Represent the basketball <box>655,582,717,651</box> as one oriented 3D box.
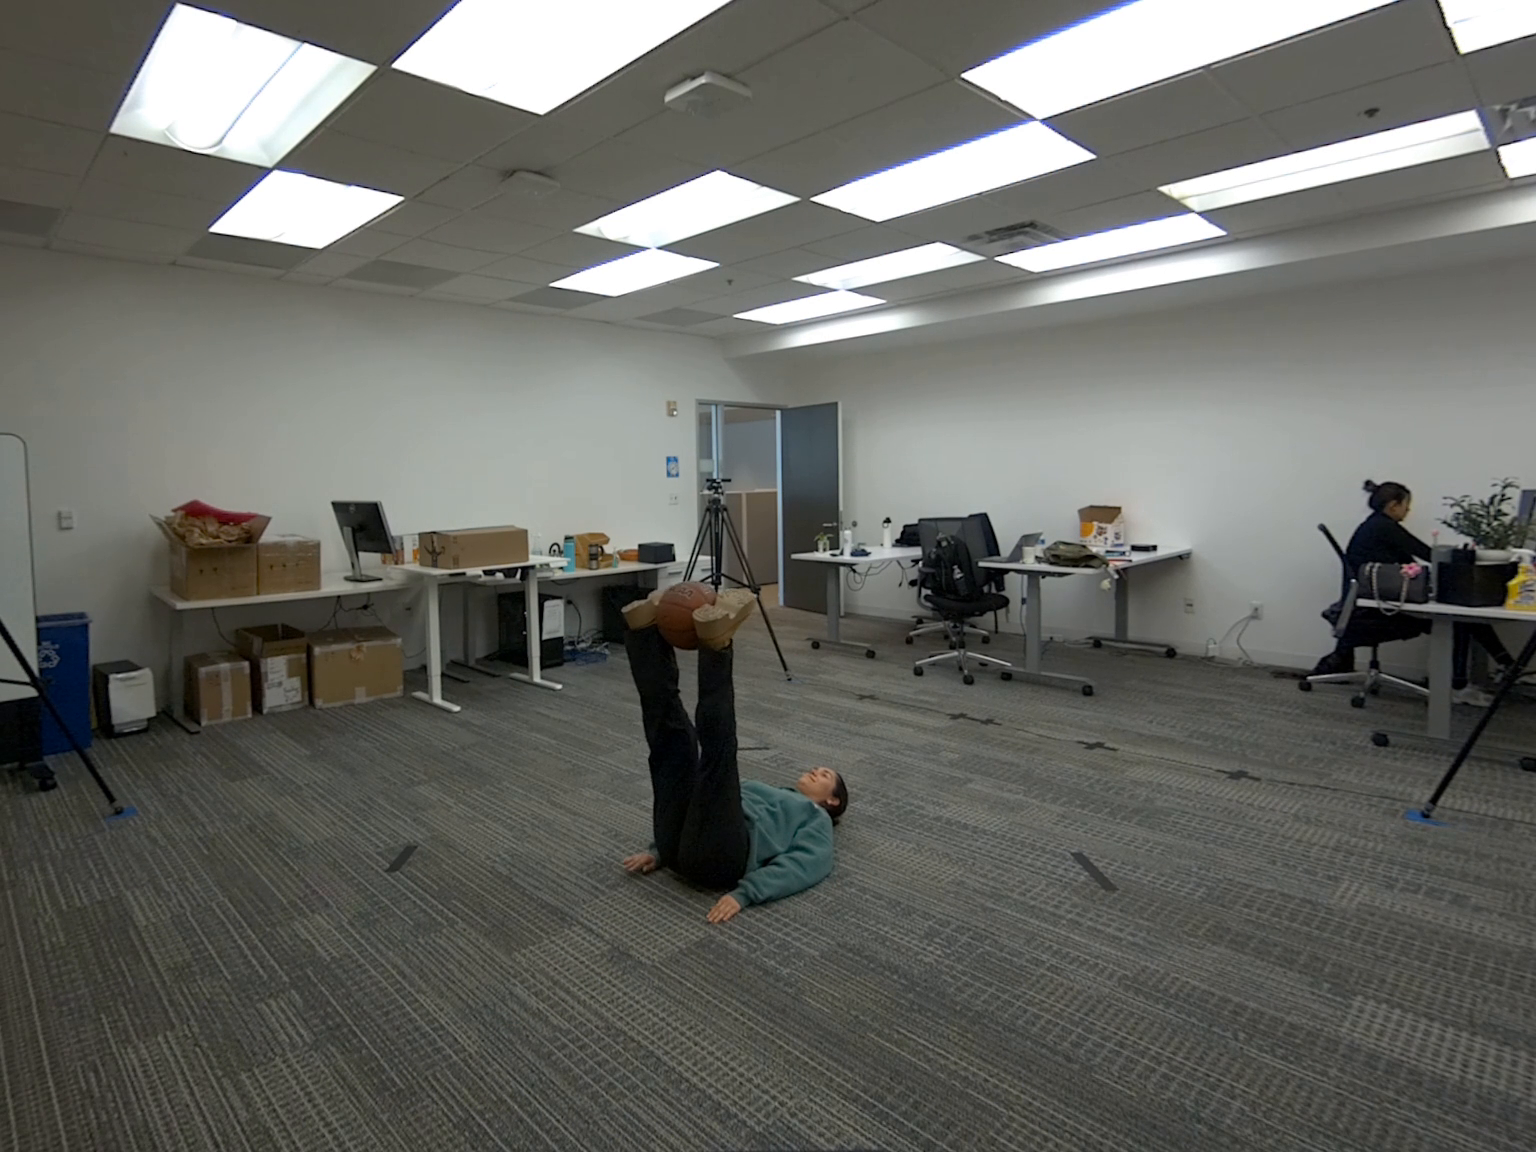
[{"bbox_3d":[-0.263,0.136,2.899,0.236,0.235,0.237,-1,4,-2],"label":"basketball"}]
